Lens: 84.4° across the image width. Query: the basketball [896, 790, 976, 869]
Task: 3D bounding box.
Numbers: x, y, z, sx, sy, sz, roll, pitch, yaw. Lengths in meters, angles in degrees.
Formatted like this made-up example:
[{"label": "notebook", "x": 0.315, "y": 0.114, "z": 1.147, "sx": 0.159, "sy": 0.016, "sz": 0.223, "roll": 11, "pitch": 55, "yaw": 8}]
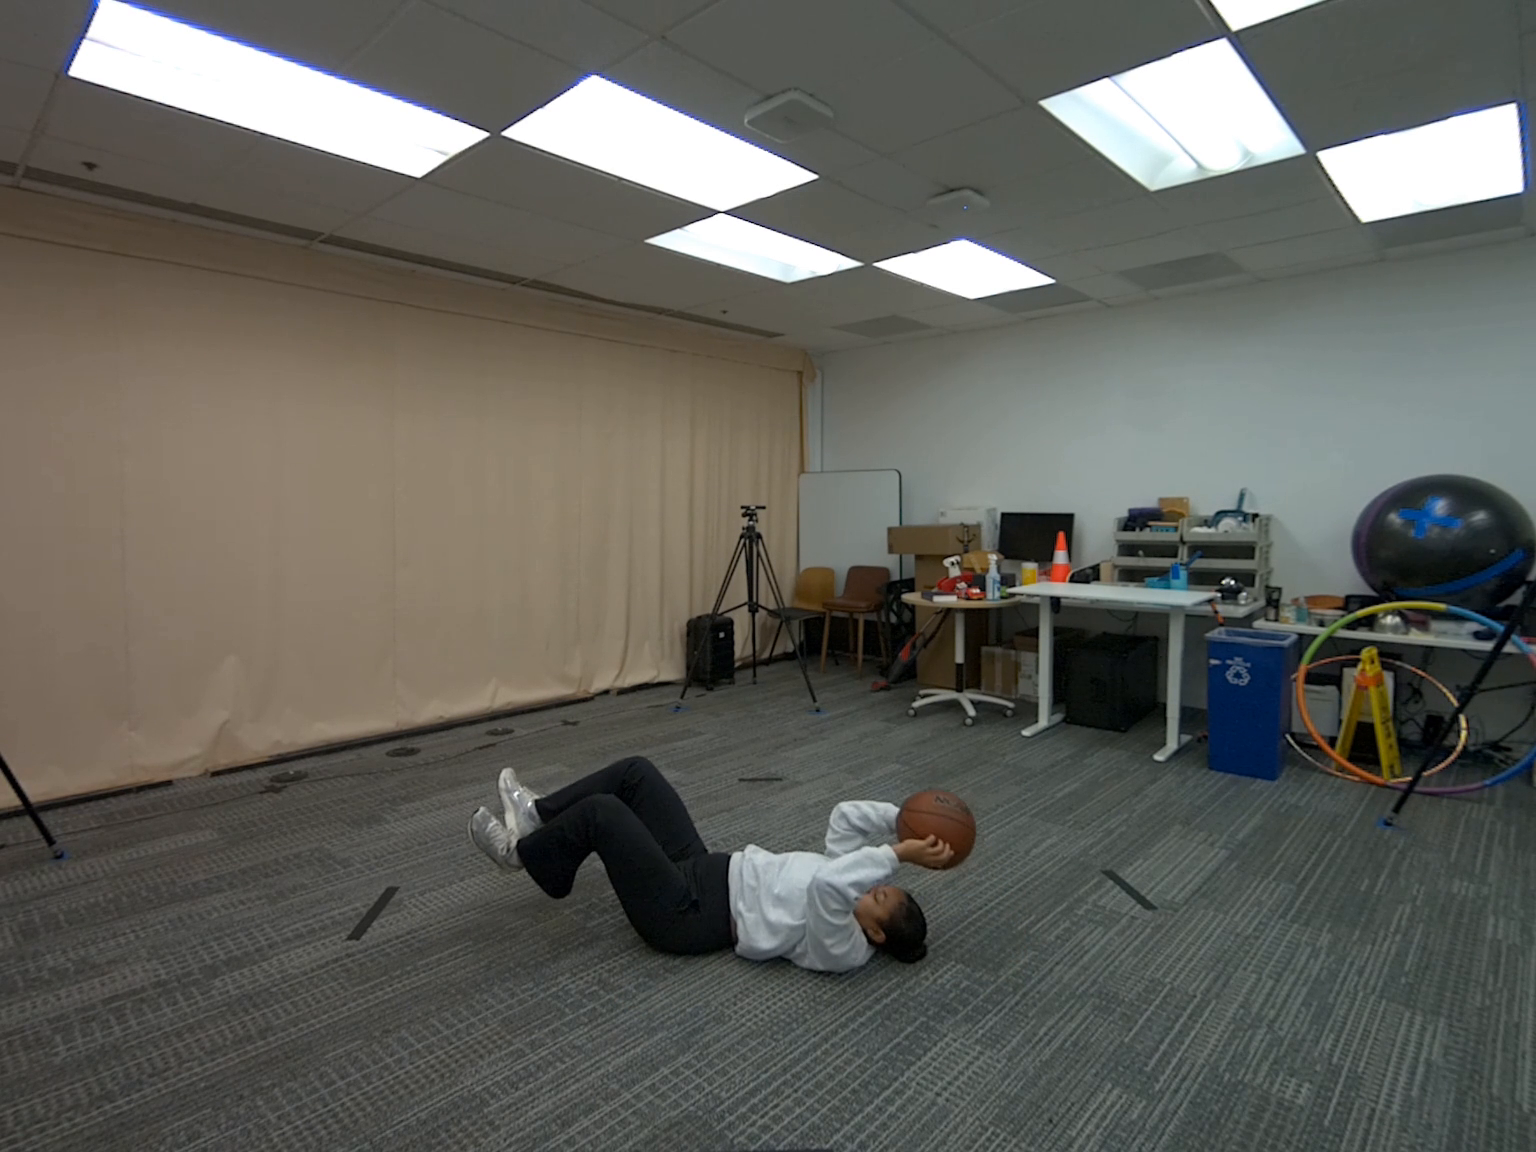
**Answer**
[{"label": "basketball", "x": 0.513, "y": 0.774, "z": 2.576, "sx": 0.236, "sy": 0.236, "sz": 0.236, "roll": 2, "pitch": 0, "yaw": -2}]
